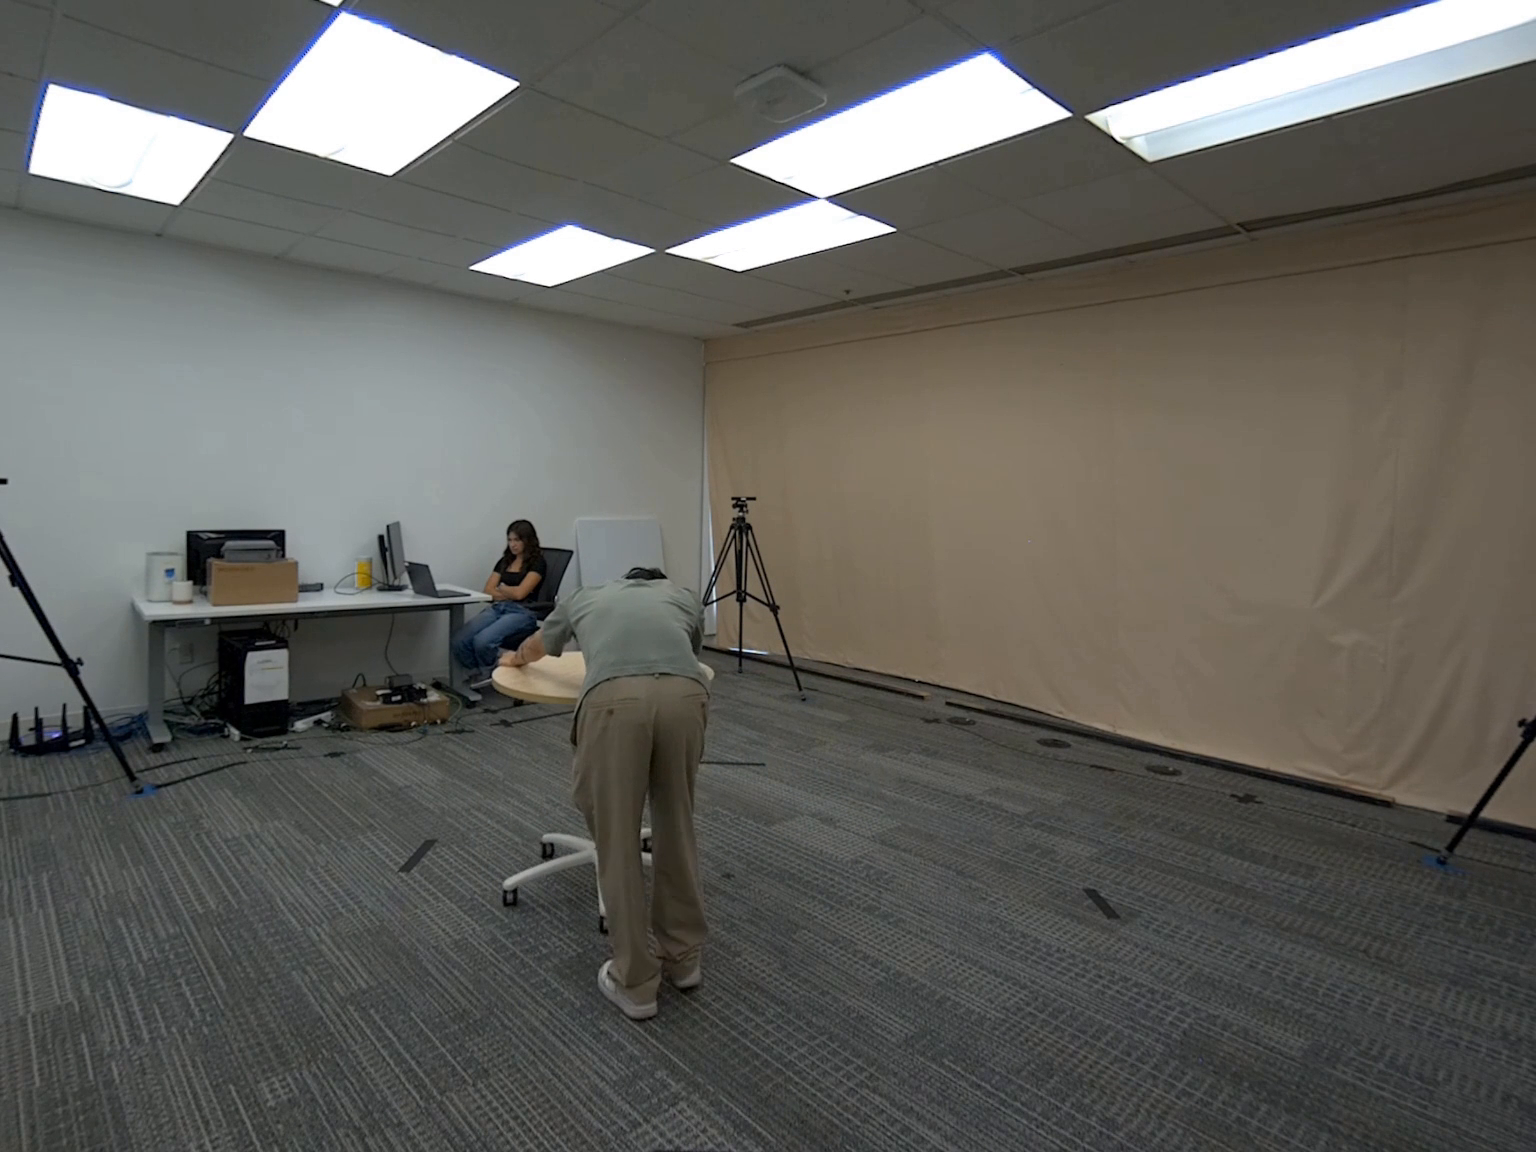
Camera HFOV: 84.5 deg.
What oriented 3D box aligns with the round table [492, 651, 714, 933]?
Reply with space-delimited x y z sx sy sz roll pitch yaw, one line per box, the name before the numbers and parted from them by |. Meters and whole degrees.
round table | -0.606 0.726 2.979 0.784 0.784 0.788 2 4 -2
